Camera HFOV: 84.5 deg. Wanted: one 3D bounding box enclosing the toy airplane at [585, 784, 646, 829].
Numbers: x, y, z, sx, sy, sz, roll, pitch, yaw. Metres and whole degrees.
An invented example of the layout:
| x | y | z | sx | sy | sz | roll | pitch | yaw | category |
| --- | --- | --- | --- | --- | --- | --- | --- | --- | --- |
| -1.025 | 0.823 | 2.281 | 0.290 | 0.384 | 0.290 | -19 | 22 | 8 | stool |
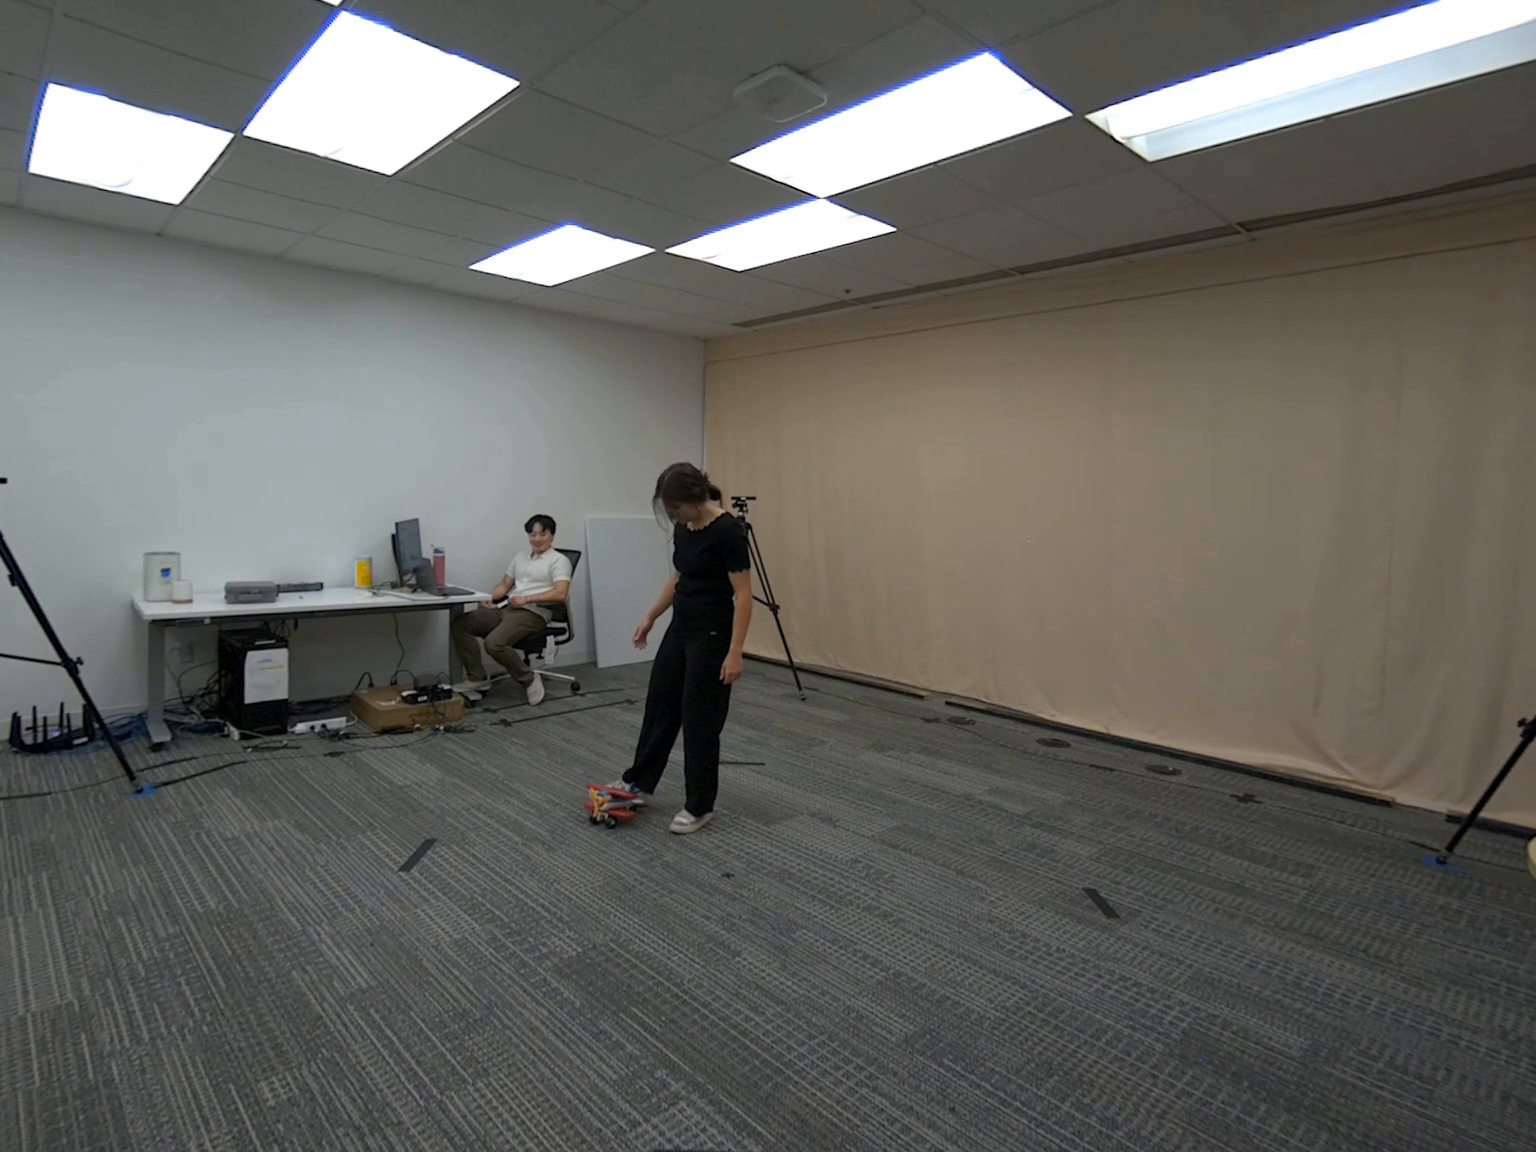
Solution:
| x | y | z | sx | sy | sz | roll | pitch | yaw | category |
| --- | --- | --- | --- | --- | --- | --- | --- | --- | --- |
| -0.683 | 0.975 | 3.620 | 0.251 | 0.156 | 0.260 | 2 | 6 | 1 | toy airplane |
